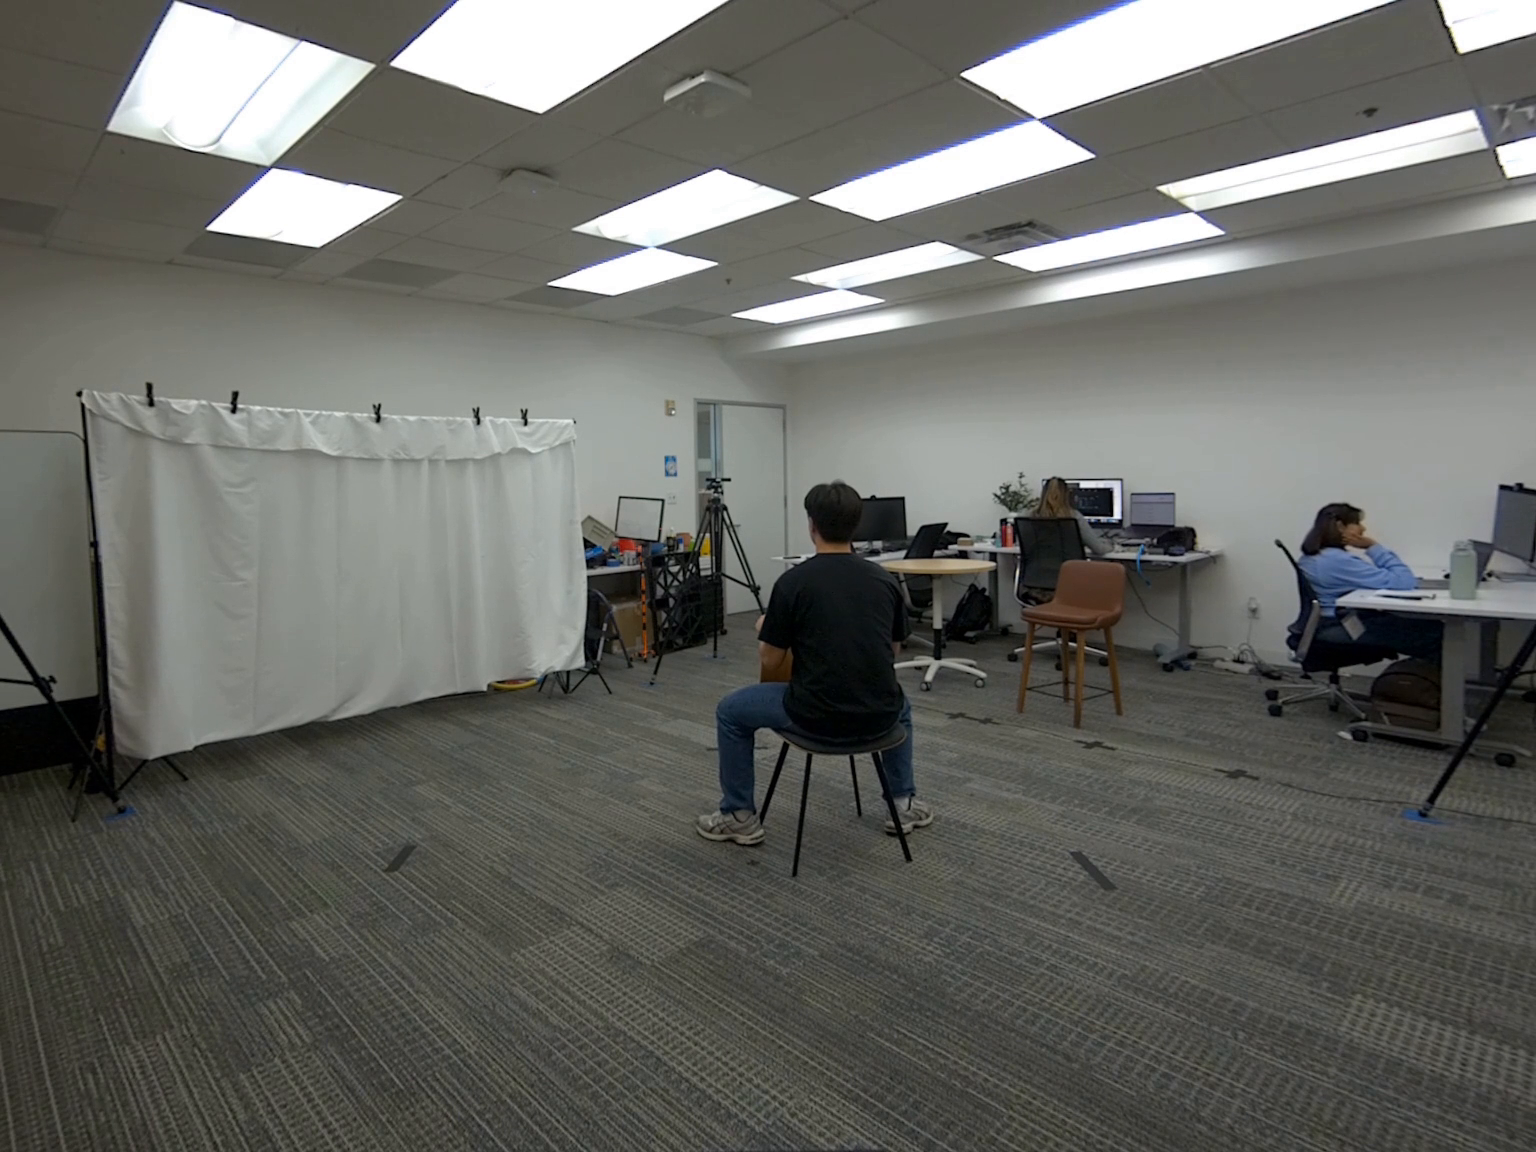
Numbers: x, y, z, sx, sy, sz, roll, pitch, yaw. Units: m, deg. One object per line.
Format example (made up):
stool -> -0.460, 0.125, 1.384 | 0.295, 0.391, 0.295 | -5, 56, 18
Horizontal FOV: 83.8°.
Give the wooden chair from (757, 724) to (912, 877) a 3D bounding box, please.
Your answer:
wooden chair -> 0.234, 0.598, 3.218 | 0.471, 0.877, 0.531 | -1, 1, -16
